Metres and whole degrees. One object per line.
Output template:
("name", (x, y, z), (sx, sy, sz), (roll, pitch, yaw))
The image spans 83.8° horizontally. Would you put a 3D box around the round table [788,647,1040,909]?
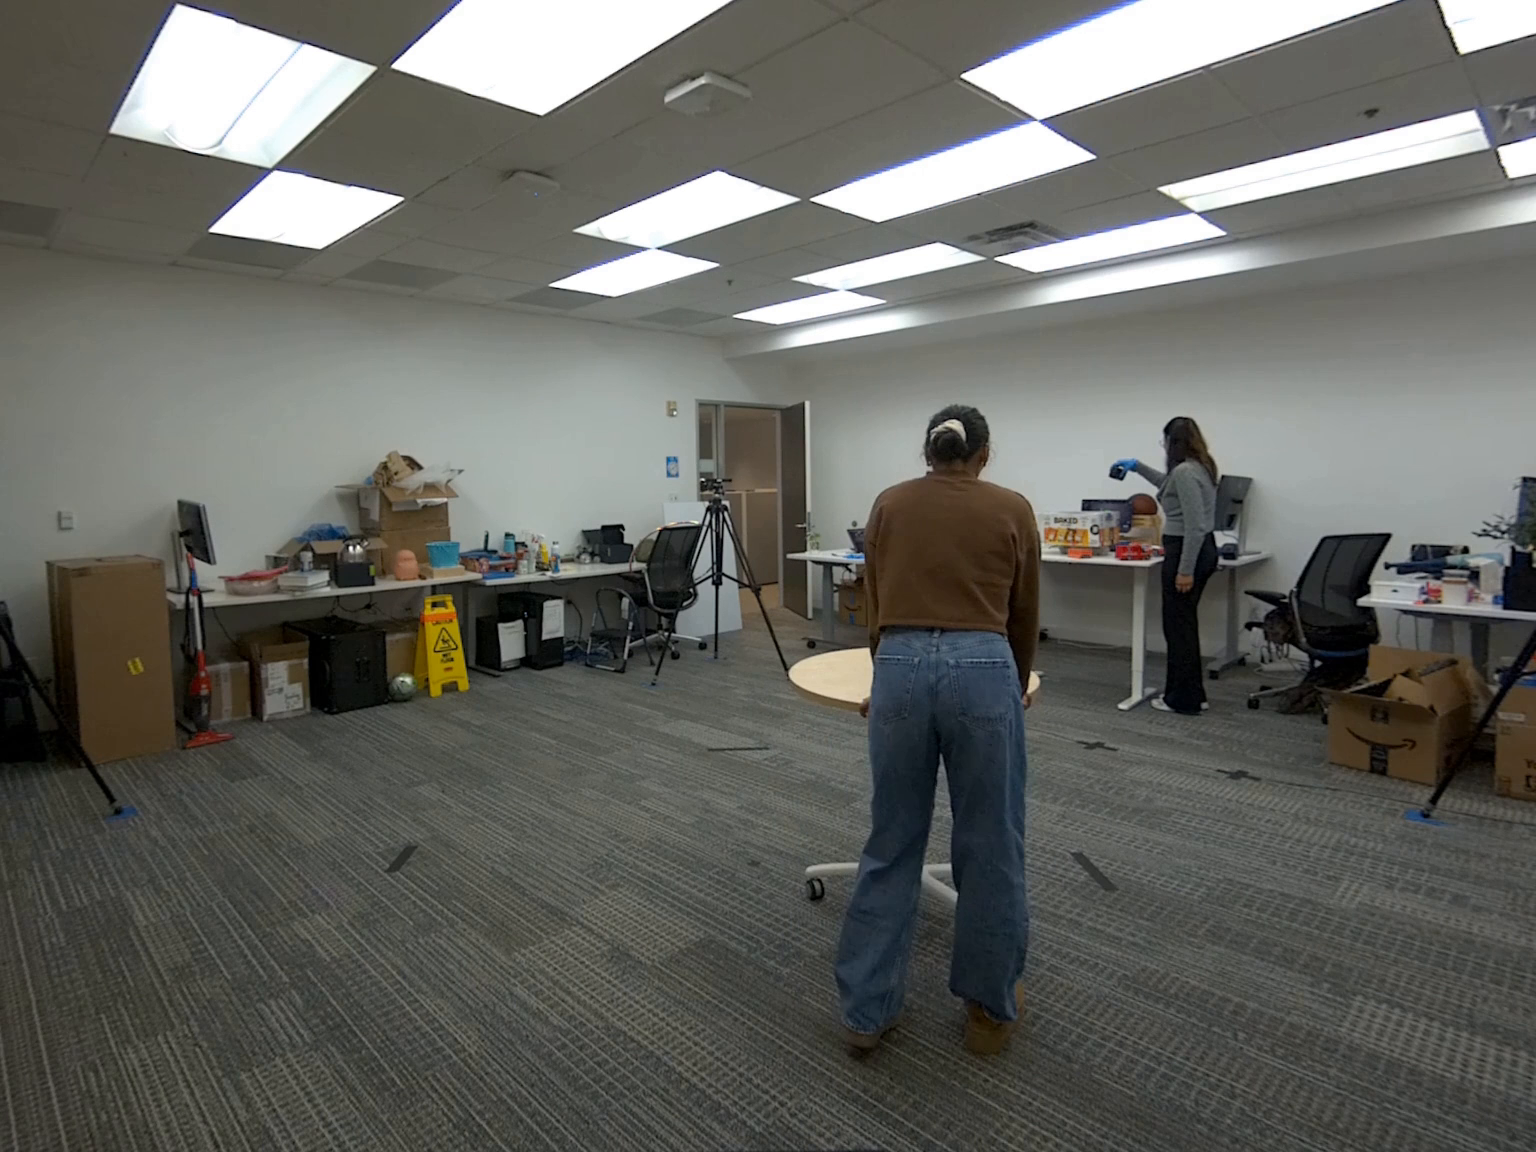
("round table", (0.467, 0.698, 2.714), (0.763, 0.790, 0.768), (-1, 5, -2))
